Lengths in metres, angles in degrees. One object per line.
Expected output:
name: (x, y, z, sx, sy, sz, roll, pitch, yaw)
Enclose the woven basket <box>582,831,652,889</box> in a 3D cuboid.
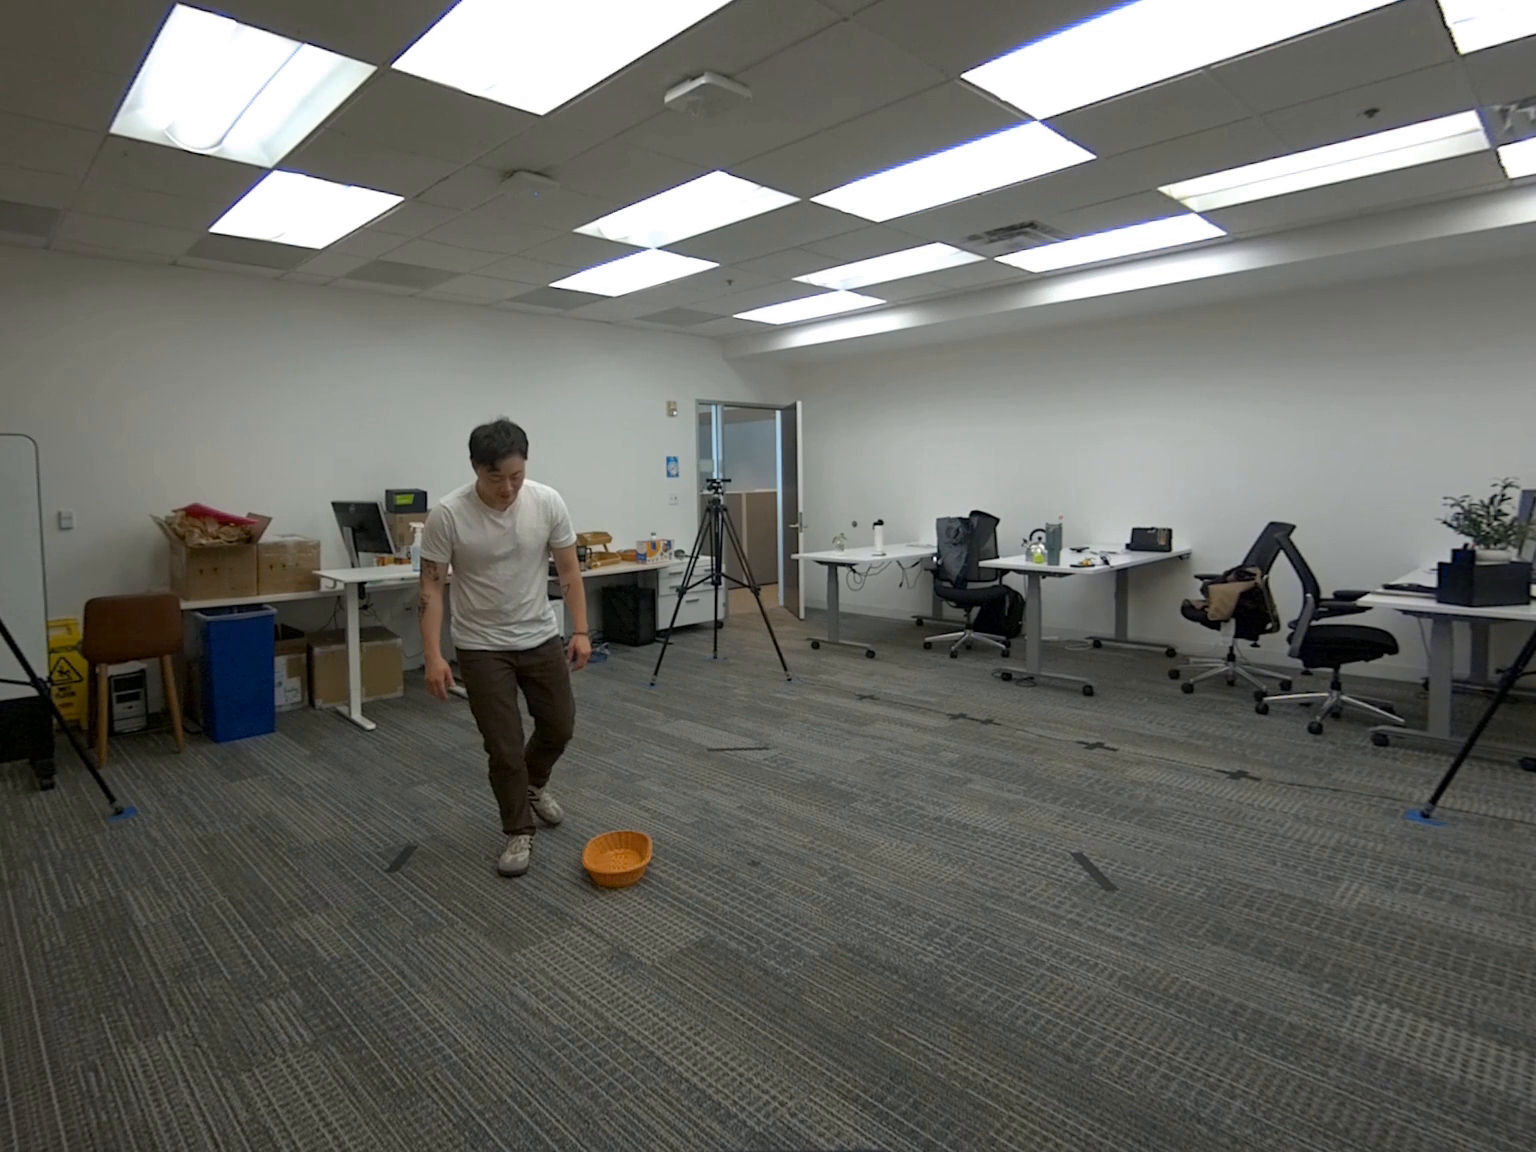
woven basket: (-0.543, 1.017, 3.073, 0.251, 0.073, 0.353, -2, 7, -5)
